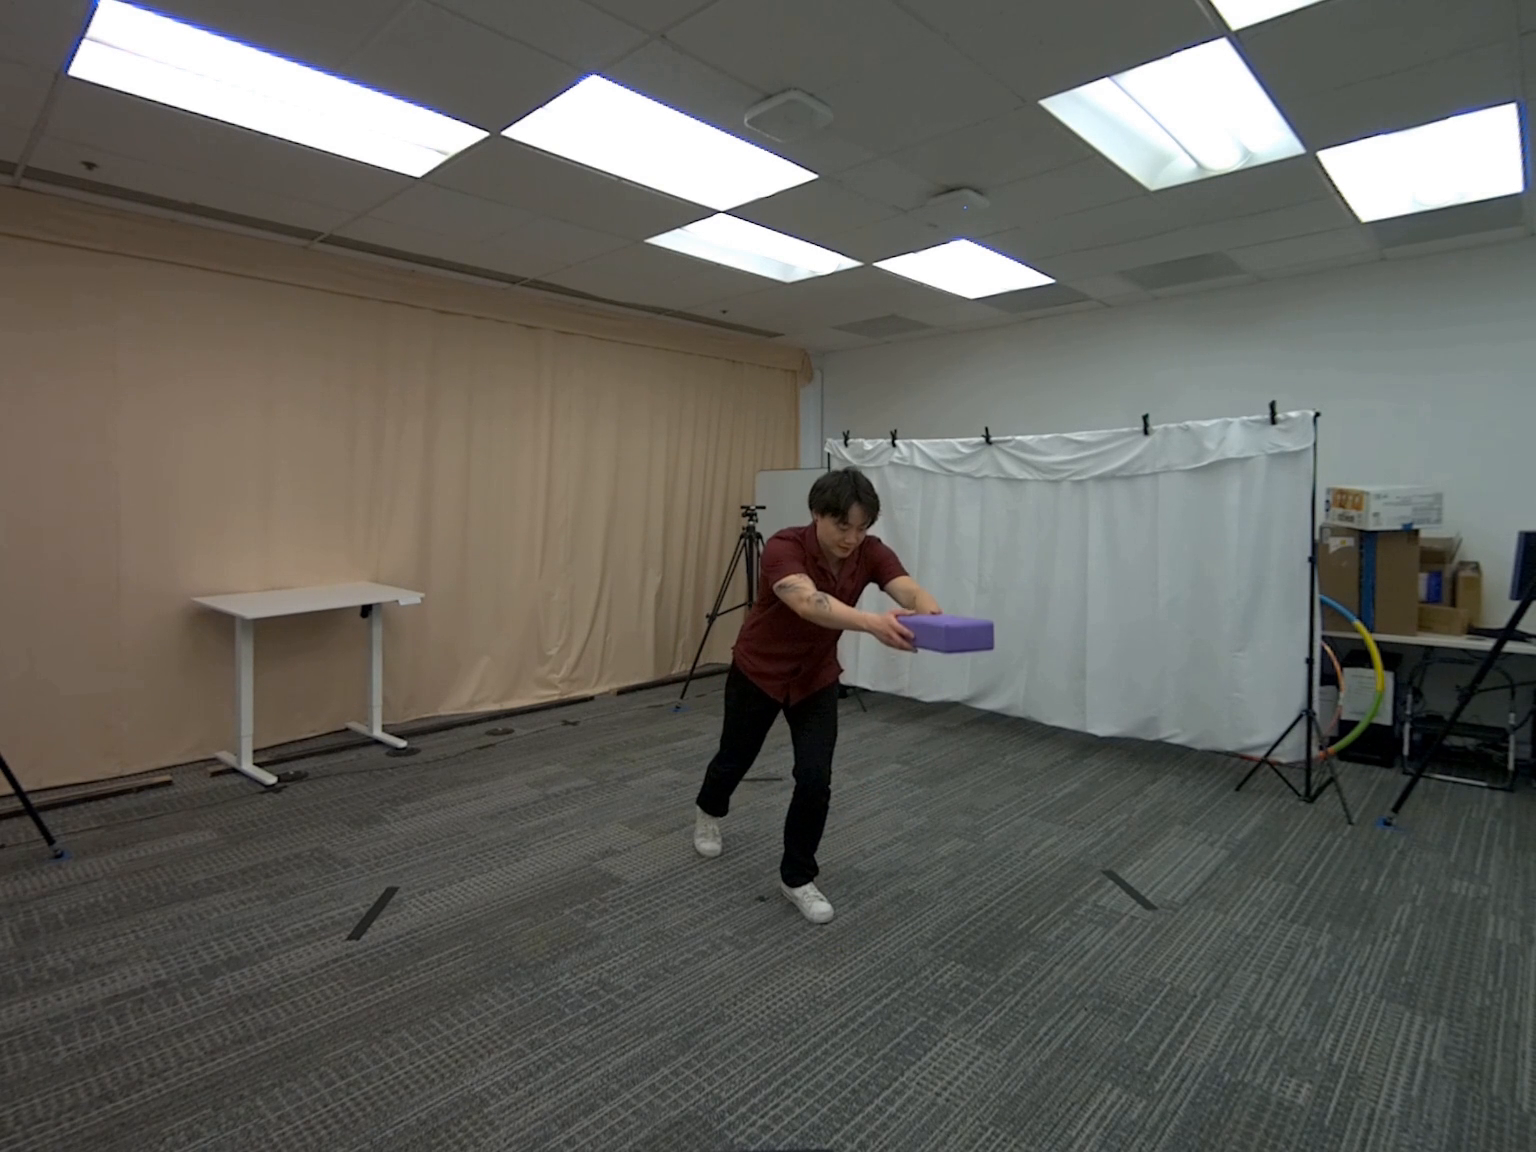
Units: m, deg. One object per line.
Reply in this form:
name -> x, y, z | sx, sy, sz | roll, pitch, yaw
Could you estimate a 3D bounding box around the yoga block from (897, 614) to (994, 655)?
yoga block -> 0.453, 0.152, 2.190 | 0.147, 0.076, 0.233 | -2, 4, -14
